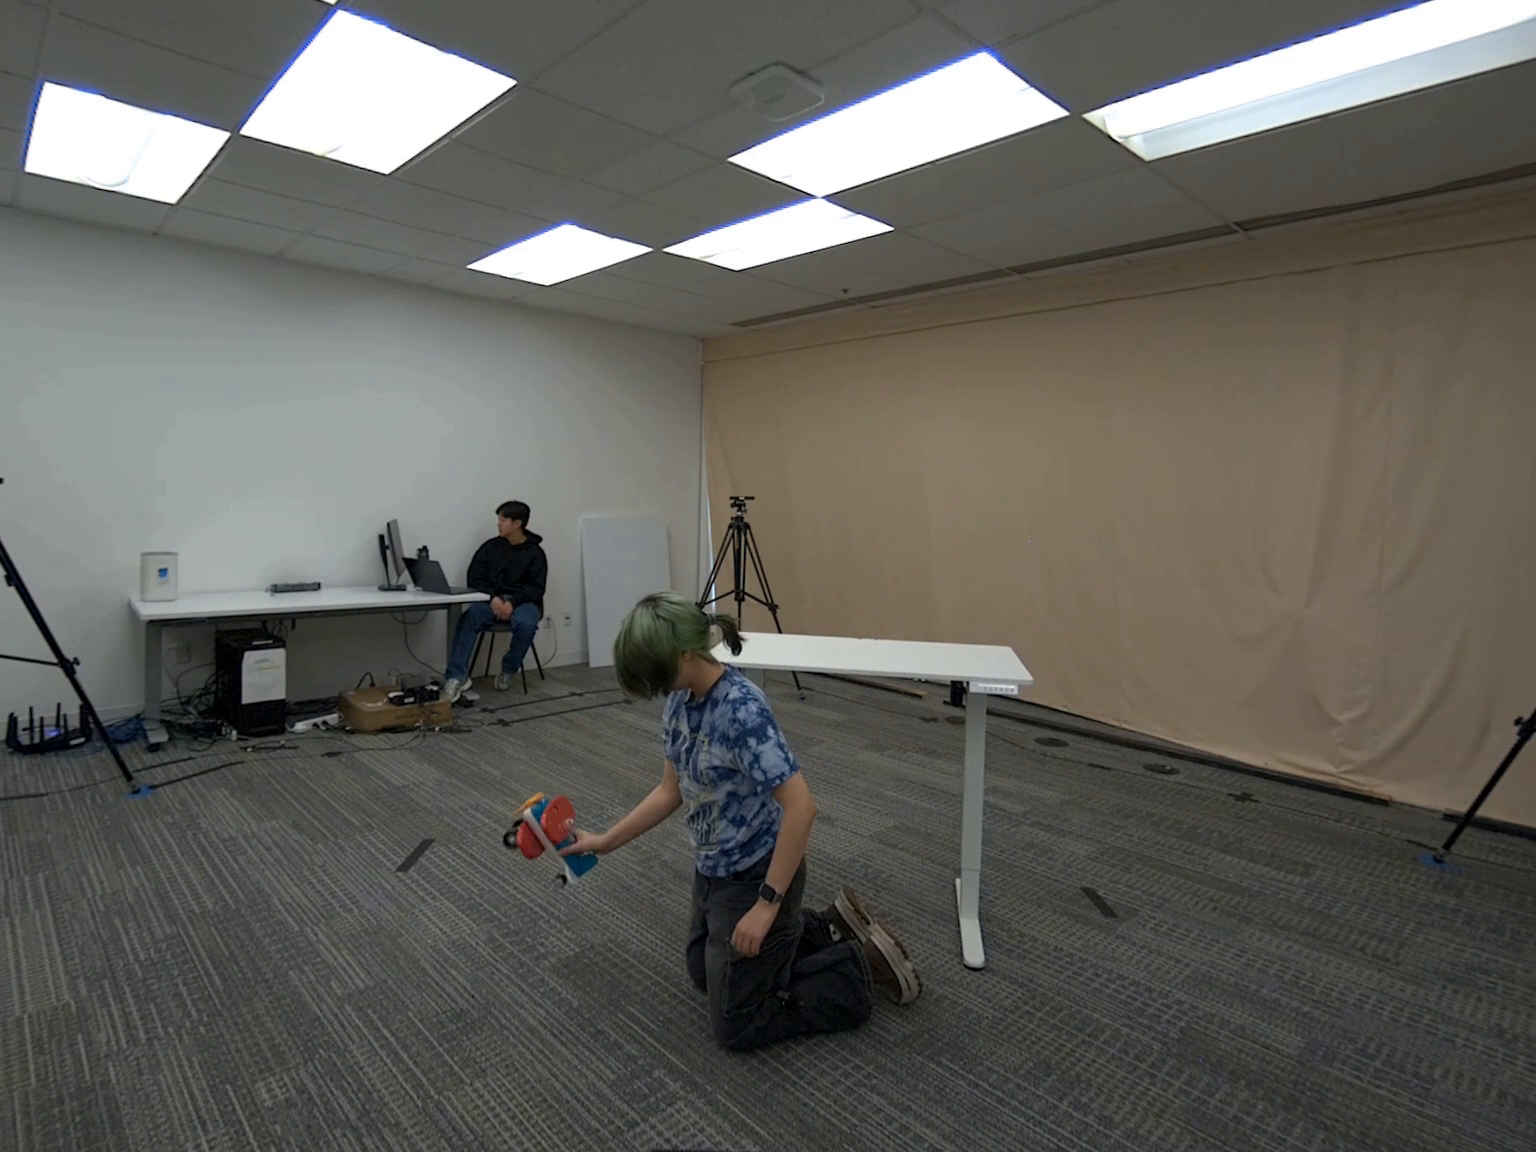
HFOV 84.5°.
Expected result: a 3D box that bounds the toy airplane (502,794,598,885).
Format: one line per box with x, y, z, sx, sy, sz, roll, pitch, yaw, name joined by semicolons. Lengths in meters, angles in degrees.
-0.599;0.734;2.357;0.252;0.156;0.258;41;1;-28;toy airplane
